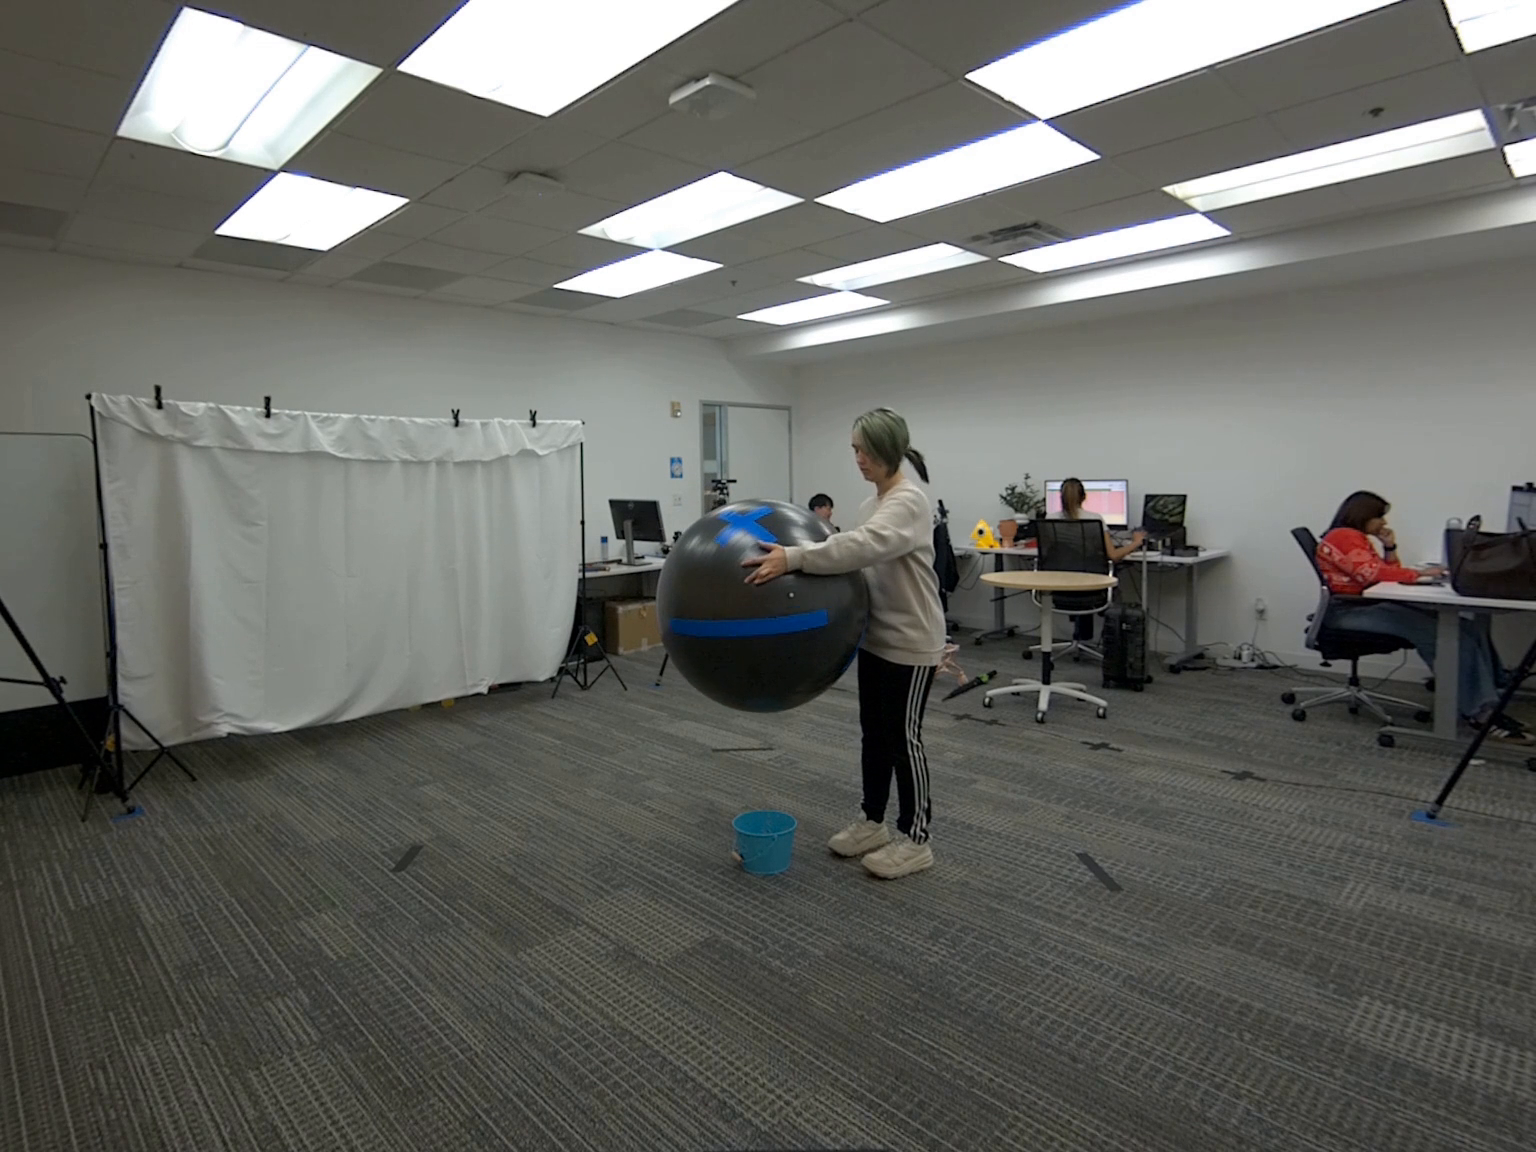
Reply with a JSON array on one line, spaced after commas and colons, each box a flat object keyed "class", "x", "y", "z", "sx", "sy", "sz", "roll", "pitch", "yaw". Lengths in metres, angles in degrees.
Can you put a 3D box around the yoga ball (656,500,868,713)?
[{"class": "yoga ball", "x": -0.026, "y": 0.105, "z": 3.072, "sx": 0.757, "sy": 0.755, "sz": 0.762, "roll": -1, "pitch": 5, "yaw": -2}]
